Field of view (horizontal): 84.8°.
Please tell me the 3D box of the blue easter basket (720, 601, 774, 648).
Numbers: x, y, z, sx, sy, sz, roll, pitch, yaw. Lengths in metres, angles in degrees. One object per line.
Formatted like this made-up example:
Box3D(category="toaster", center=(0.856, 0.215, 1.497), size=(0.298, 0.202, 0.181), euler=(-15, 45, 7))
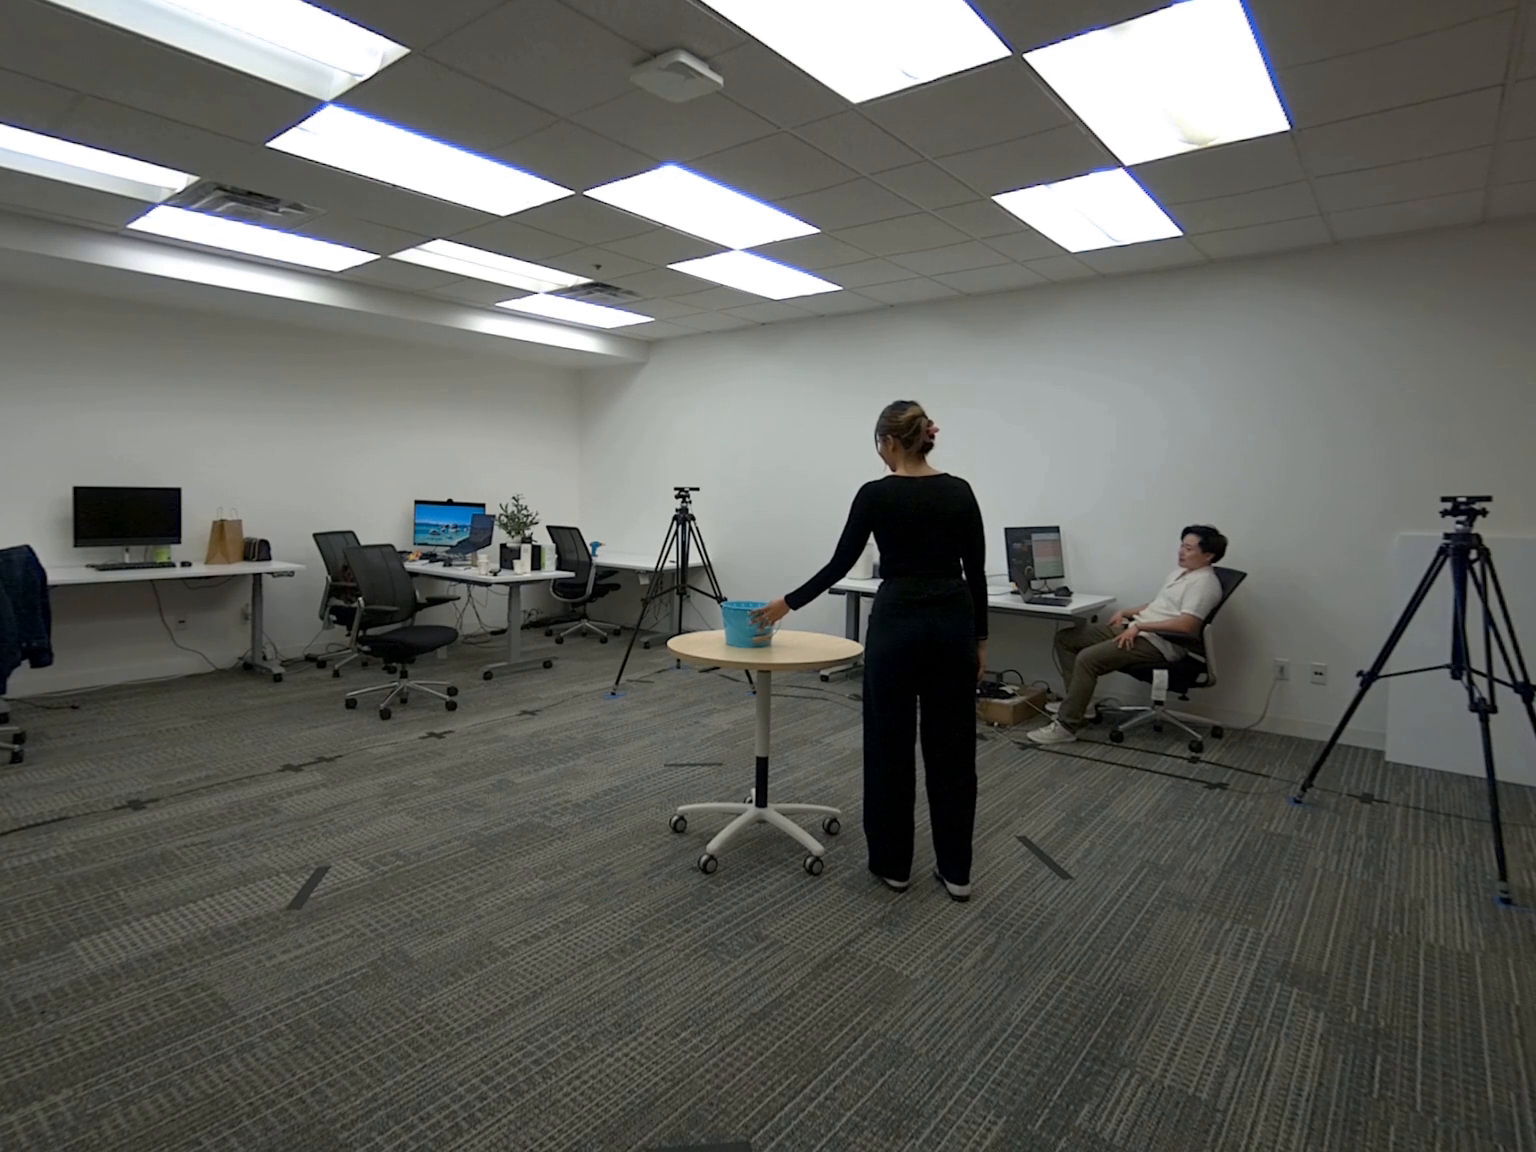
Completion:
Box3D(category="blue easter basket", center=(-0.084, 0.191, 3.334), size=(0.243, 0.155, 0.245), euler=(2, 4, -2))
